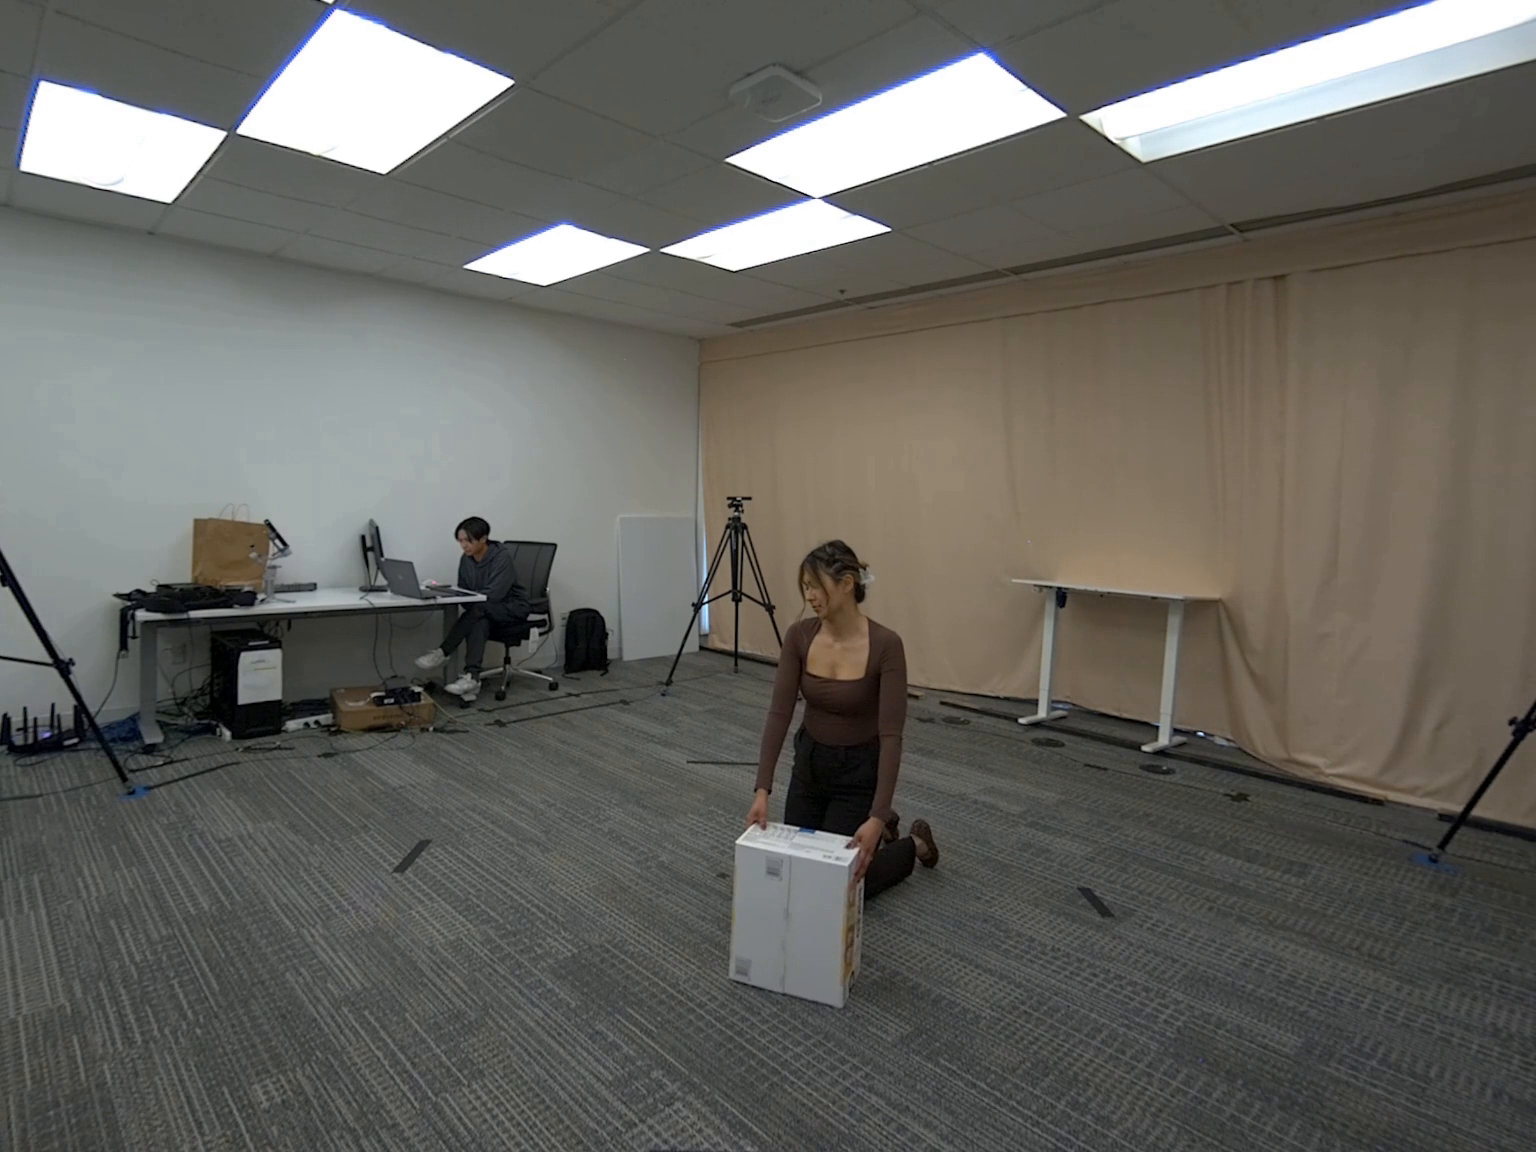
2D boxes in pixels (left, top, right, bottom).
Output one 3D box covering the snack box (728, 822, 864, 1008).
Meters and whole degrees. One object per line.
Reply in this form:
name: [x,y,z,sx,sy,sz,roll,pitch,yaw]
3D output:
snack box: [0.084,0.969,2.450,0.346,0.404,0.203,3,4,21]
